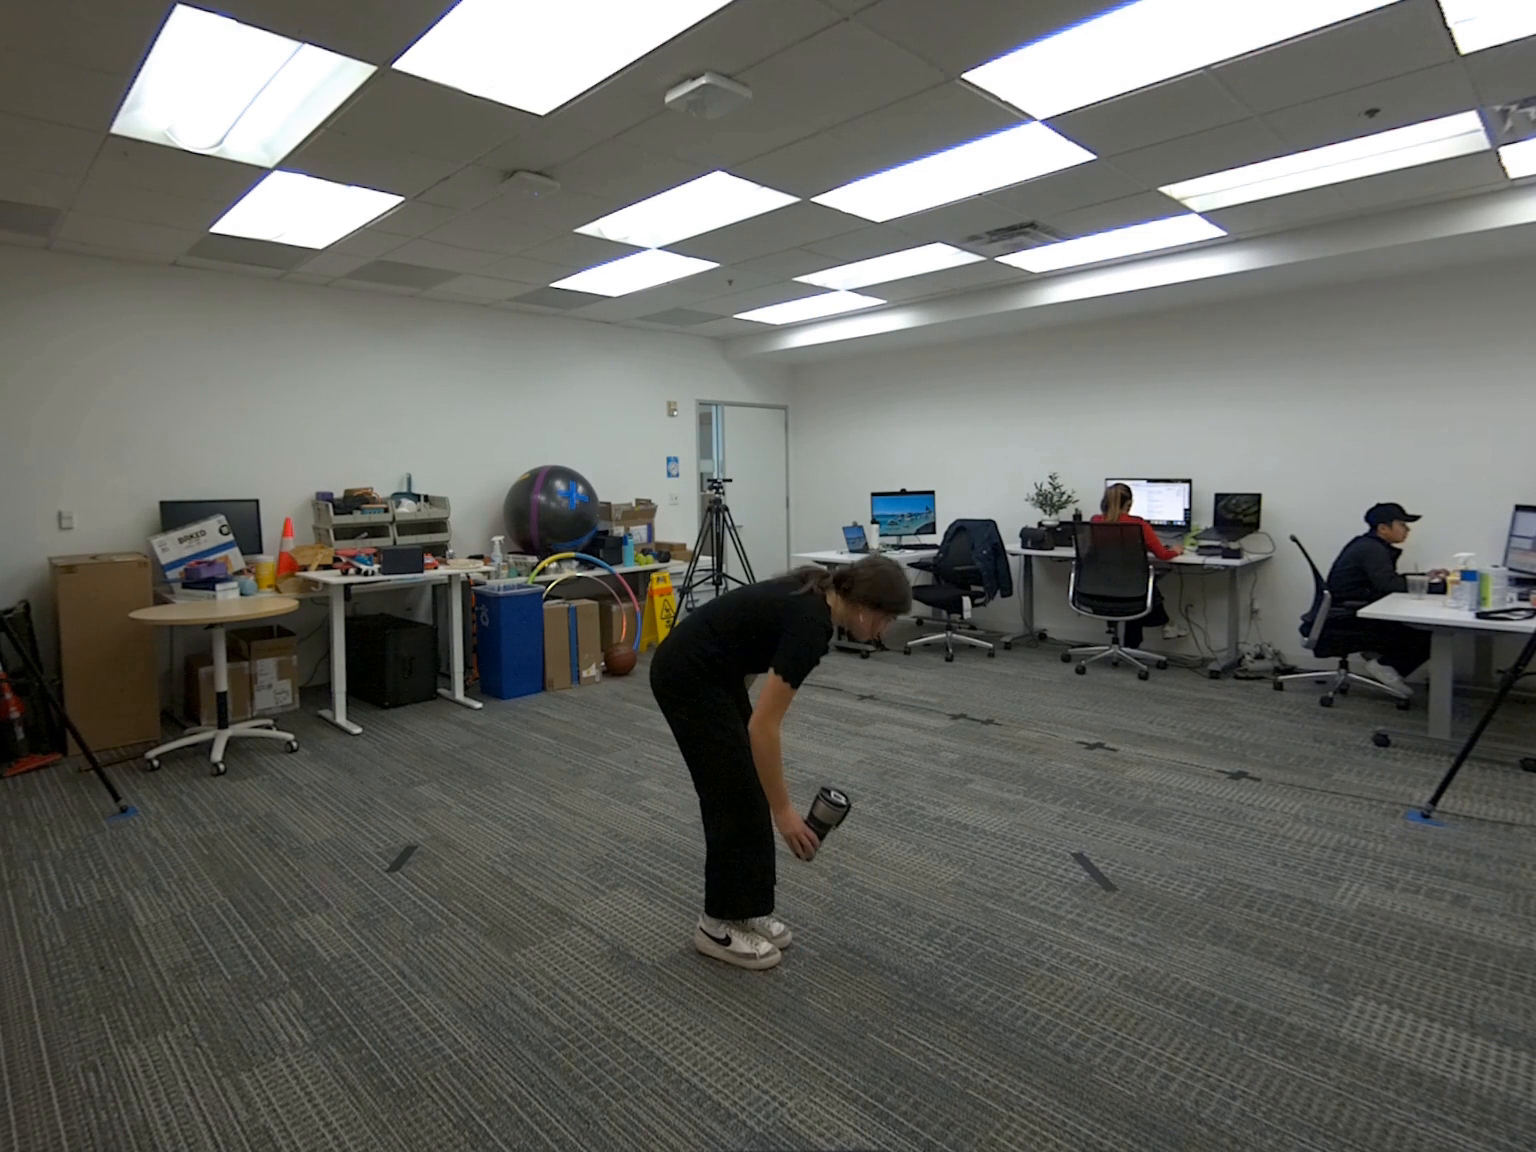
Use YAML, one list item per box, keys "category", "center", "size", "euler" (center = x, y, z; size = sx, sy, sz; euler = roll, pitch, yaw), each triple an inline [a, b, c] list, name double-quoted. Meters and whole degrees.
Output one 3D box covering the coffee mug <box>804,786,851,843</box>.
- category: "coffee mug"
  center: [0.158, 0.696, 2.348]
  size: [0.119, 0.201, 0.091]
  euler: [14, 14, -25]
